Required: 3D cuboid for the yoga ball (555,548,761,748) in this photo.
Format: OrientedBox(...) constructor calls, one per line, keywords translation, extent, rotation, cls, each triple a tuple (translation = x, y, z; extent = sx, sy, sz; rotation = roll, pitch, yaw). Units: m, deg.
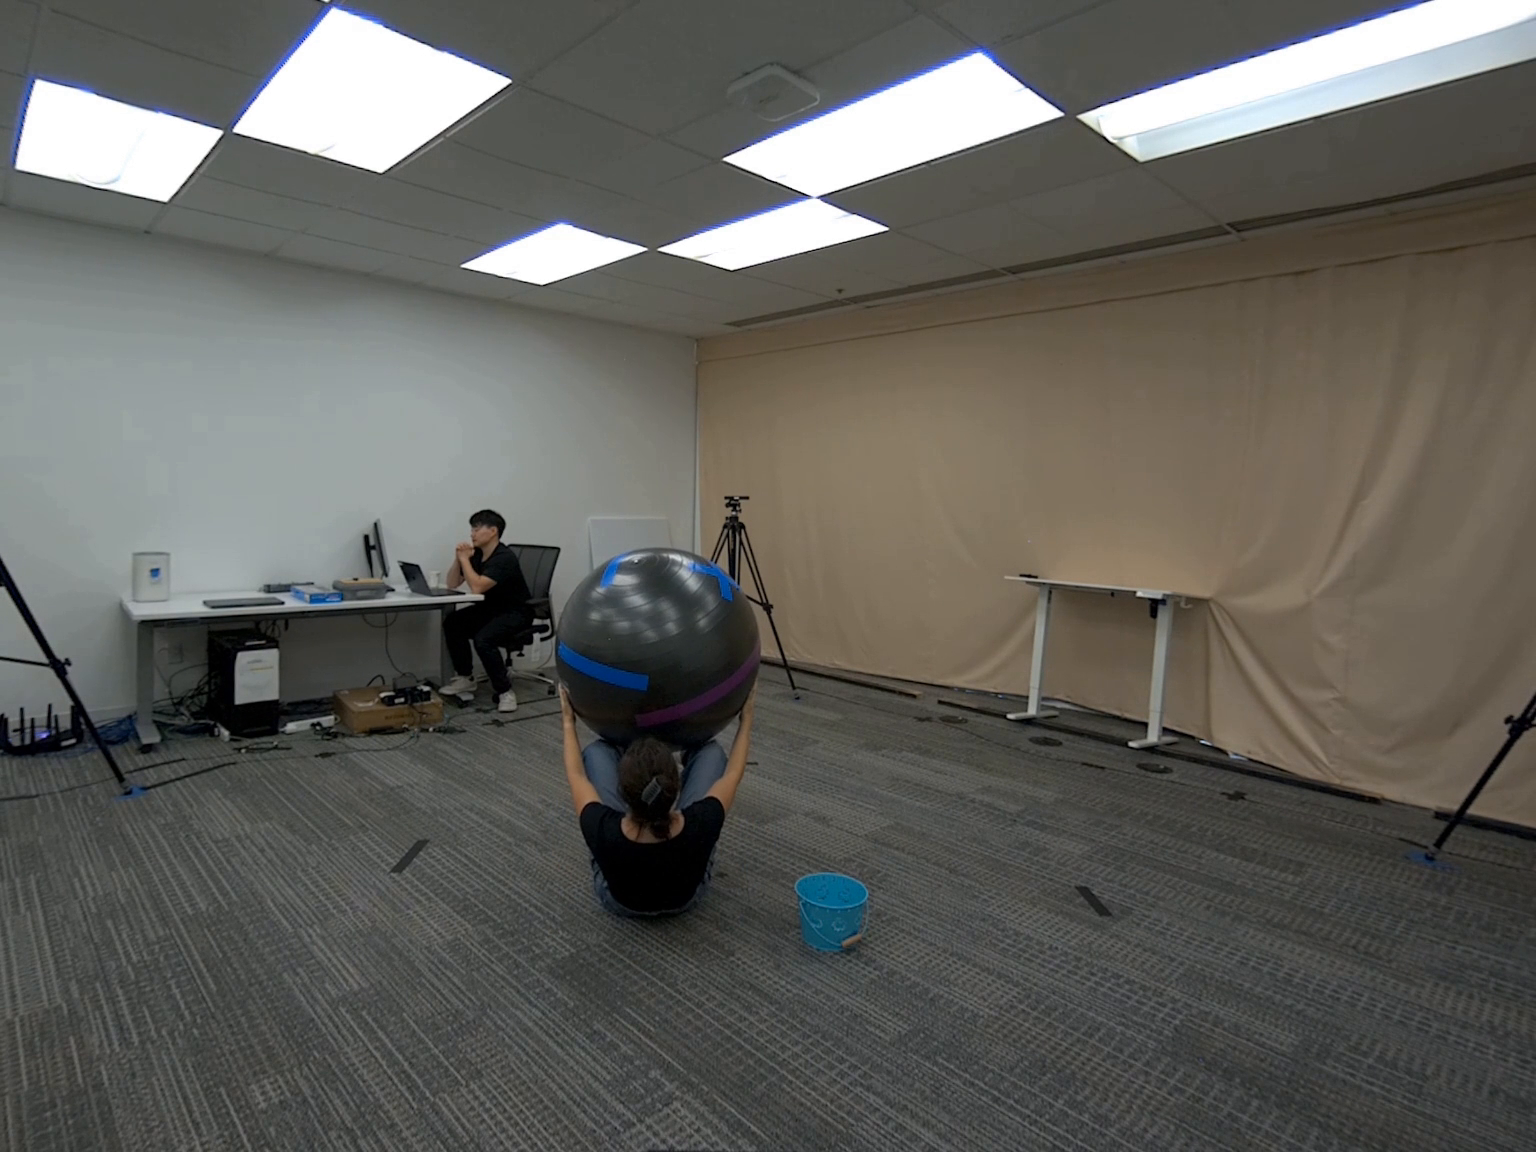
OrientedBox(translation=(-0.416, 0.280, 3.123), extent=(0.757, 0.756, 0.761), rotation=(1, 4, -1), cls="yoga ball")
